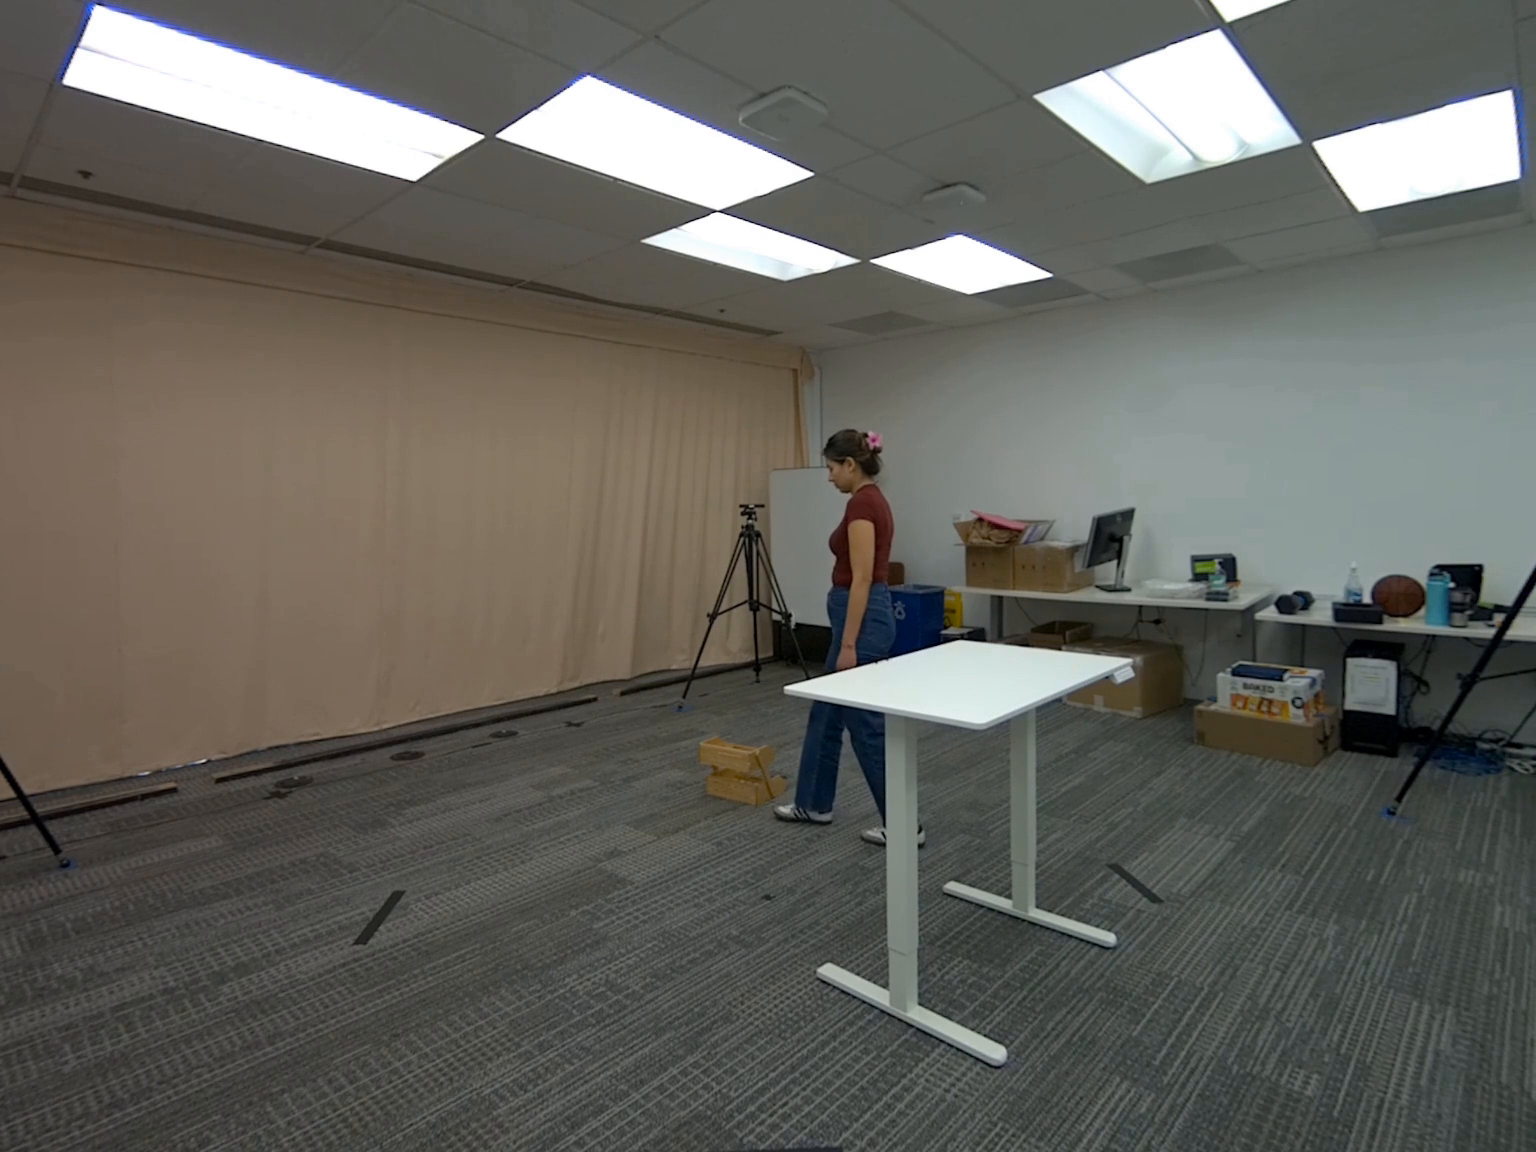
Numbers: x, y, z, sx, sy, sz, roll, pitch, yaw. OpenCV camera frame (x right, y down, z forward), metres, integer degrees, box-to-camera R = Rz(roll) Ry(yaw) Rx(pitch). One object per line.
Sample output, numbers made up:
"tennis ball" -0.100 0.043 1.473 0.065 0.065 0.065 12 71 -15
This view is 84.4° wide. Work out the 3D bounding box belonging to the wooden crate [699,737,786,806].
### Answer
"wooden crate" -0.121 0.919 4.065 0.334 0.273 0.293 2 5 35
